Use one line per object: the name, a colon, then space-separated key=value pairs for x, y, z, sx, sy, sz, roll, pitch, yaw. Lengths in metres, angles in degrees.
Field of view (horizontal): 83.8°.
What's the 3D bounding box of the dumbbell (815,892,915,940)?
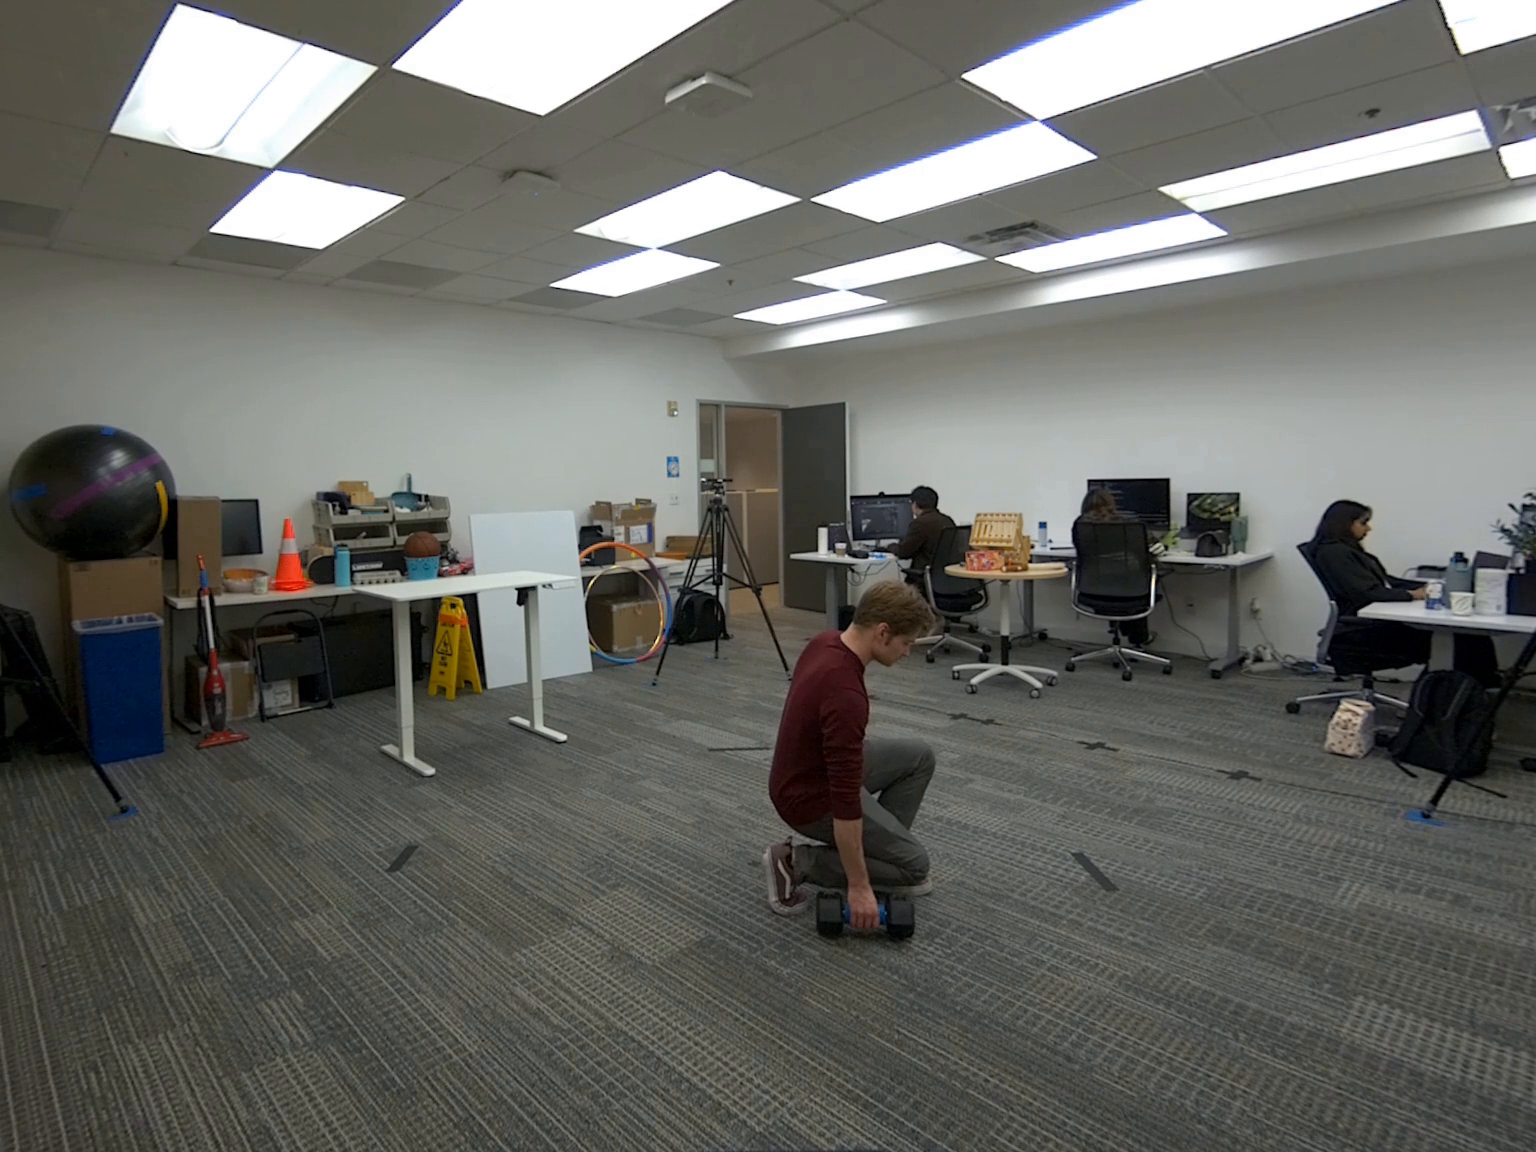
dumbbell: x=0.290 y=1.028 z=2.604 sx=0.295 sy=0.126 sz=0.106 roll=-2 pitch=-30 yaw=4
